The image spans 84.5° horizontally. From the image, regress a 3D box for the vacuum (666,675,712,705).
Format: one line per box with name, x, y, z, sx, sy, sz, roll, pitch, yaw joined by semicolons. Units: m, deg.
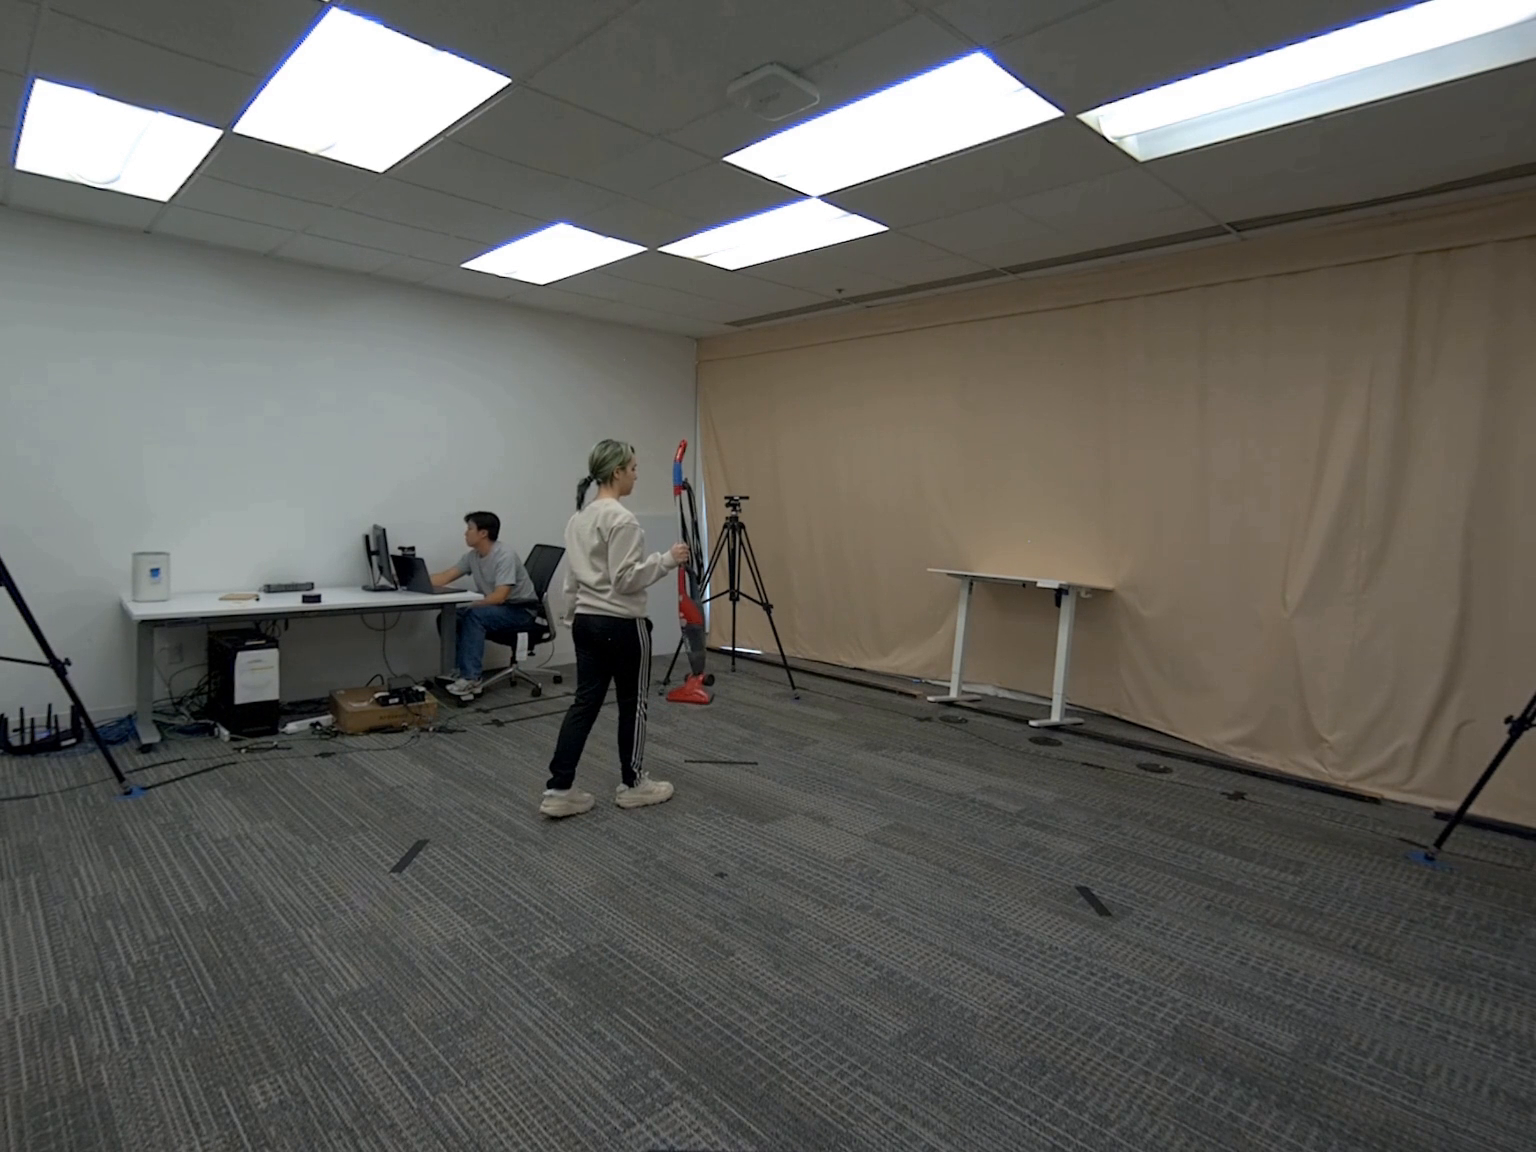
vacuum;-0.343;-0.037;3.556;0.258;1.049;0.141;-3;0;38
